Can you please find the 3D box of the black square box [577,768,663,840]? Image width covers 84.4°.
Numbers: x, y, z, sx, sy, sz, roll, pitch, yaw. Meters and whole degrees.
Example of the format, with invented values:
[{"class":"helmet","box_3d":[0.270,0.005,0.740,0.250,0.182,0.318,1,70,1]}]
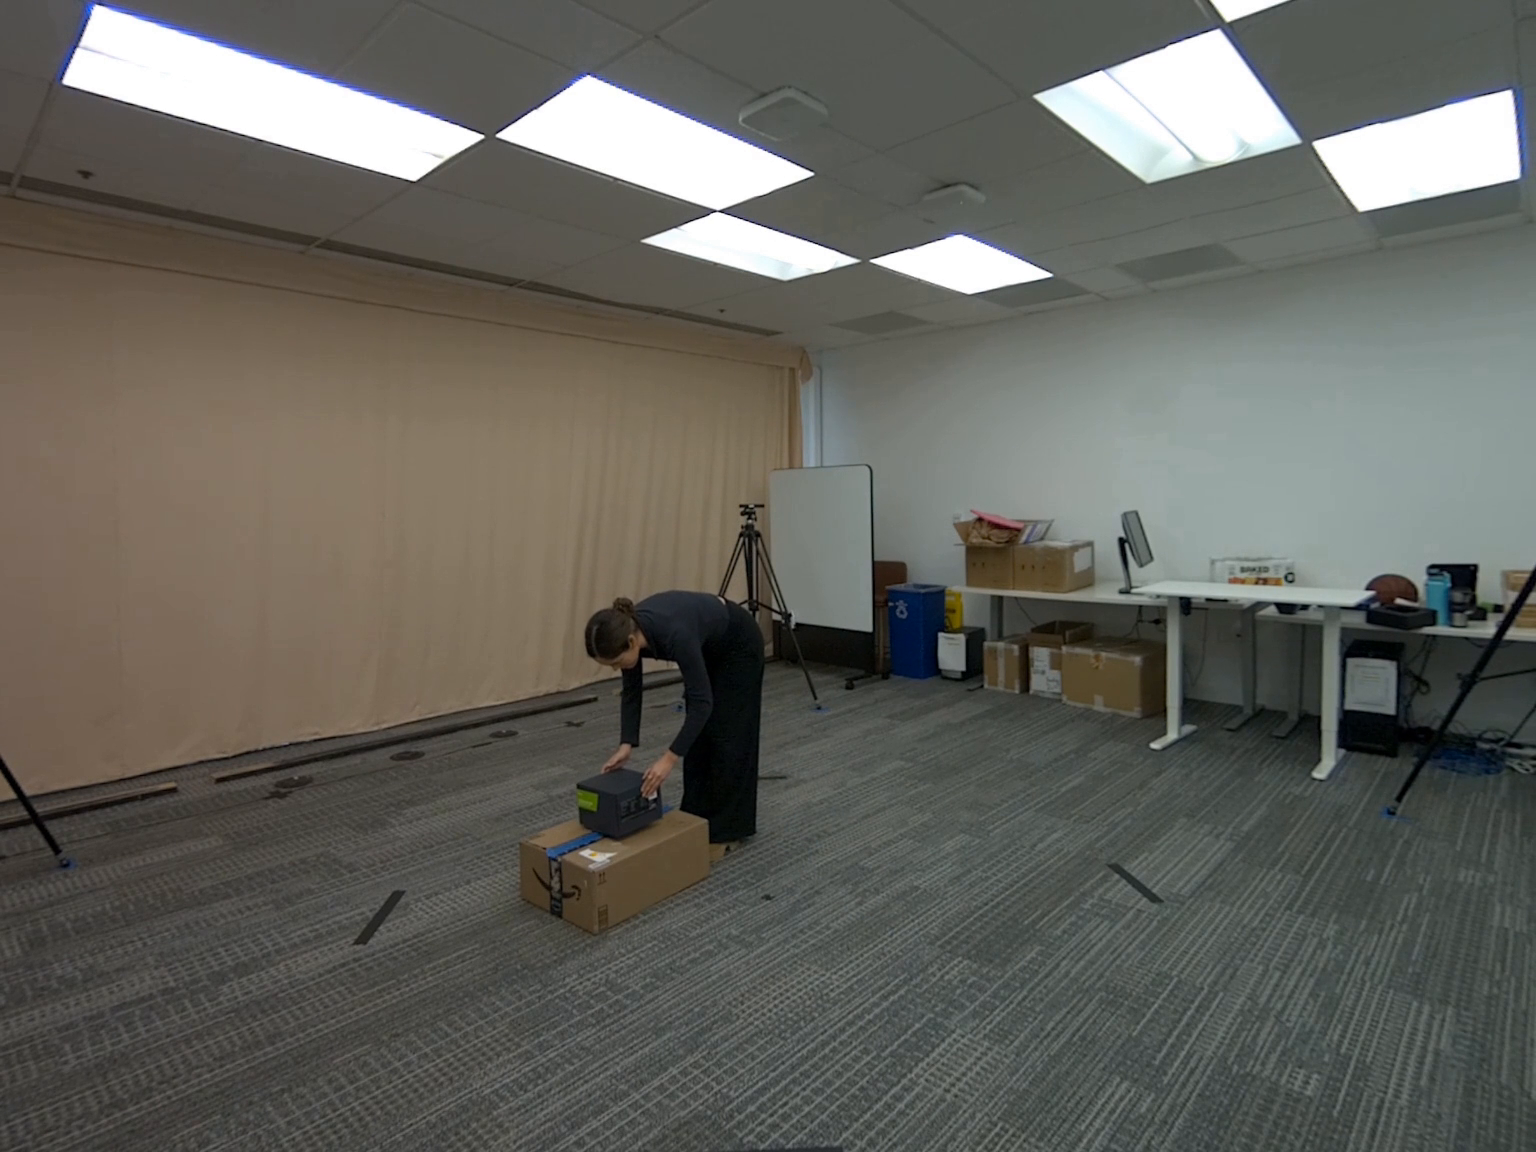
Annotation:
[{"class":"black square box","box_3d":[-0.547,0.823,3.097,0.235,0.155,0.211,-1,6,41]}]
